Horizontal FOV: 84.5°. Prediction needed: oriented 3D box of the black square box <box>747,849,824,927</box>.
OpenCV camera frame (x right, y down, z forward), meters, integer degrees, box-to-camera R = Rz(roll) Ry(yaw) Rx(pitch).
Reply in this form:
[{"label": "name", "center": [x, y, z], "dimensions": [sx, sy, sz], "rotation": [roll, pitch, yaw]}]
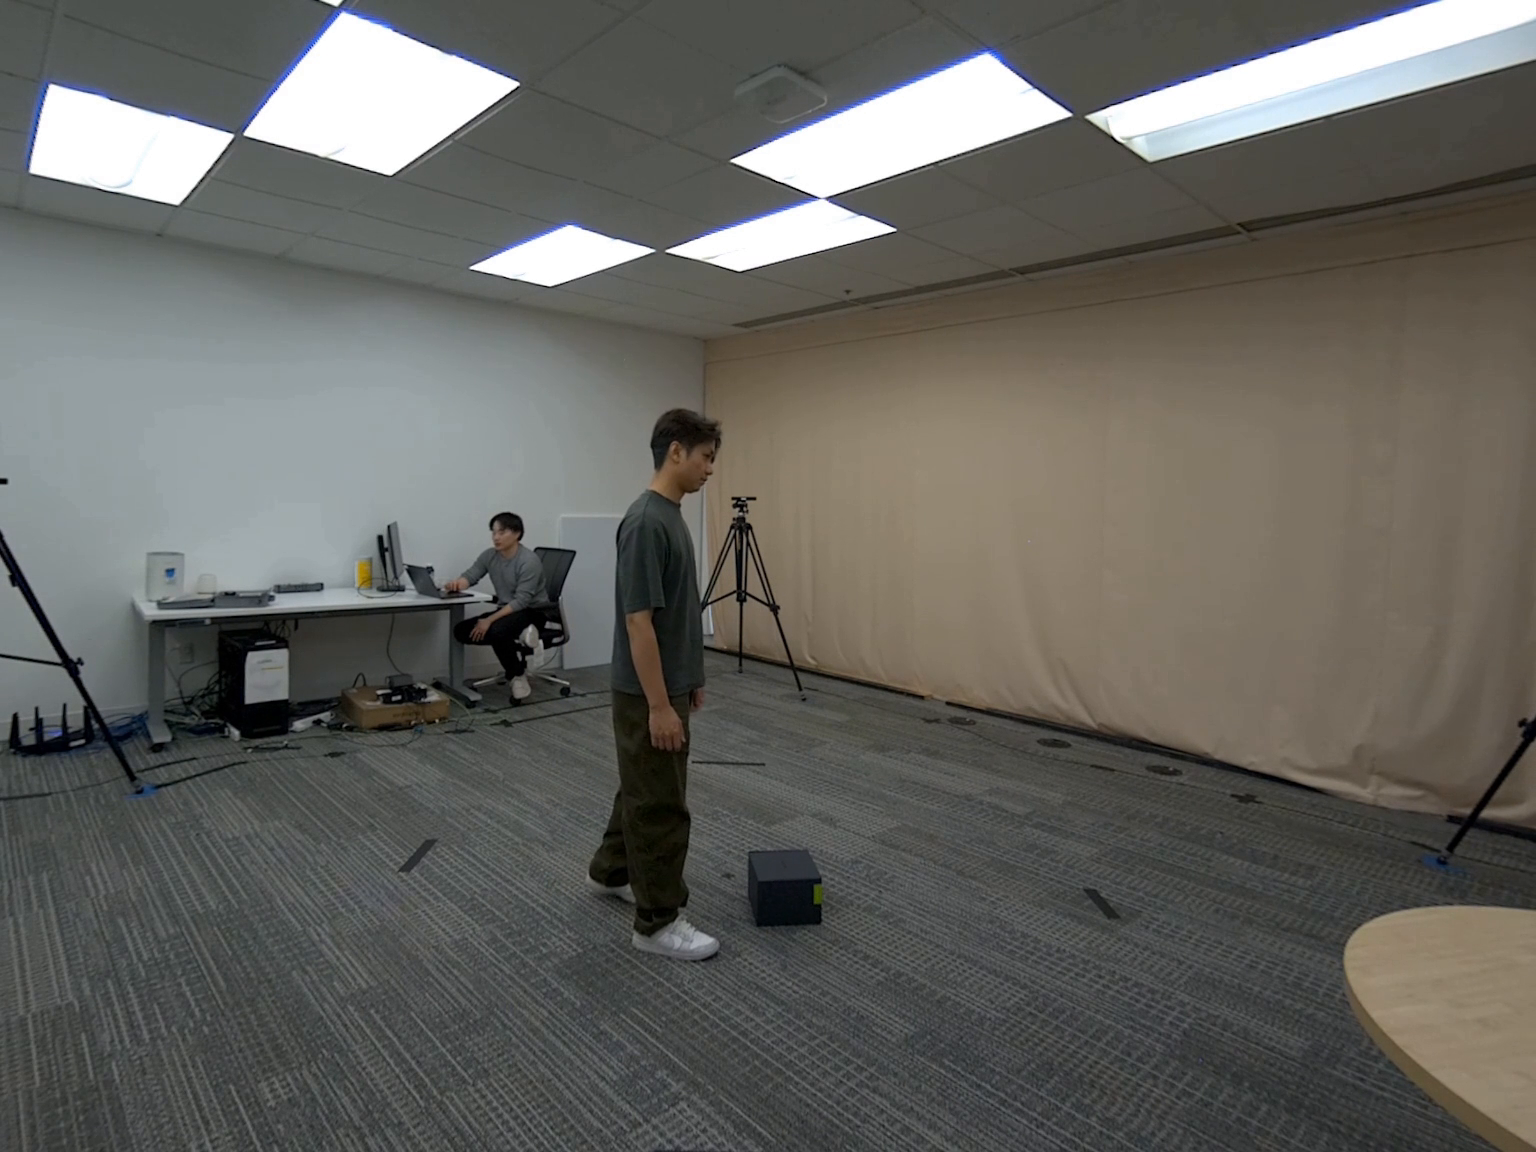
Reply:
[{"label": "black square box", "center": [0.048, 1.046, 2.851], "dimensions": [0.215, 0.155, 0.230], "rotation": [1, 4, -9]}]
